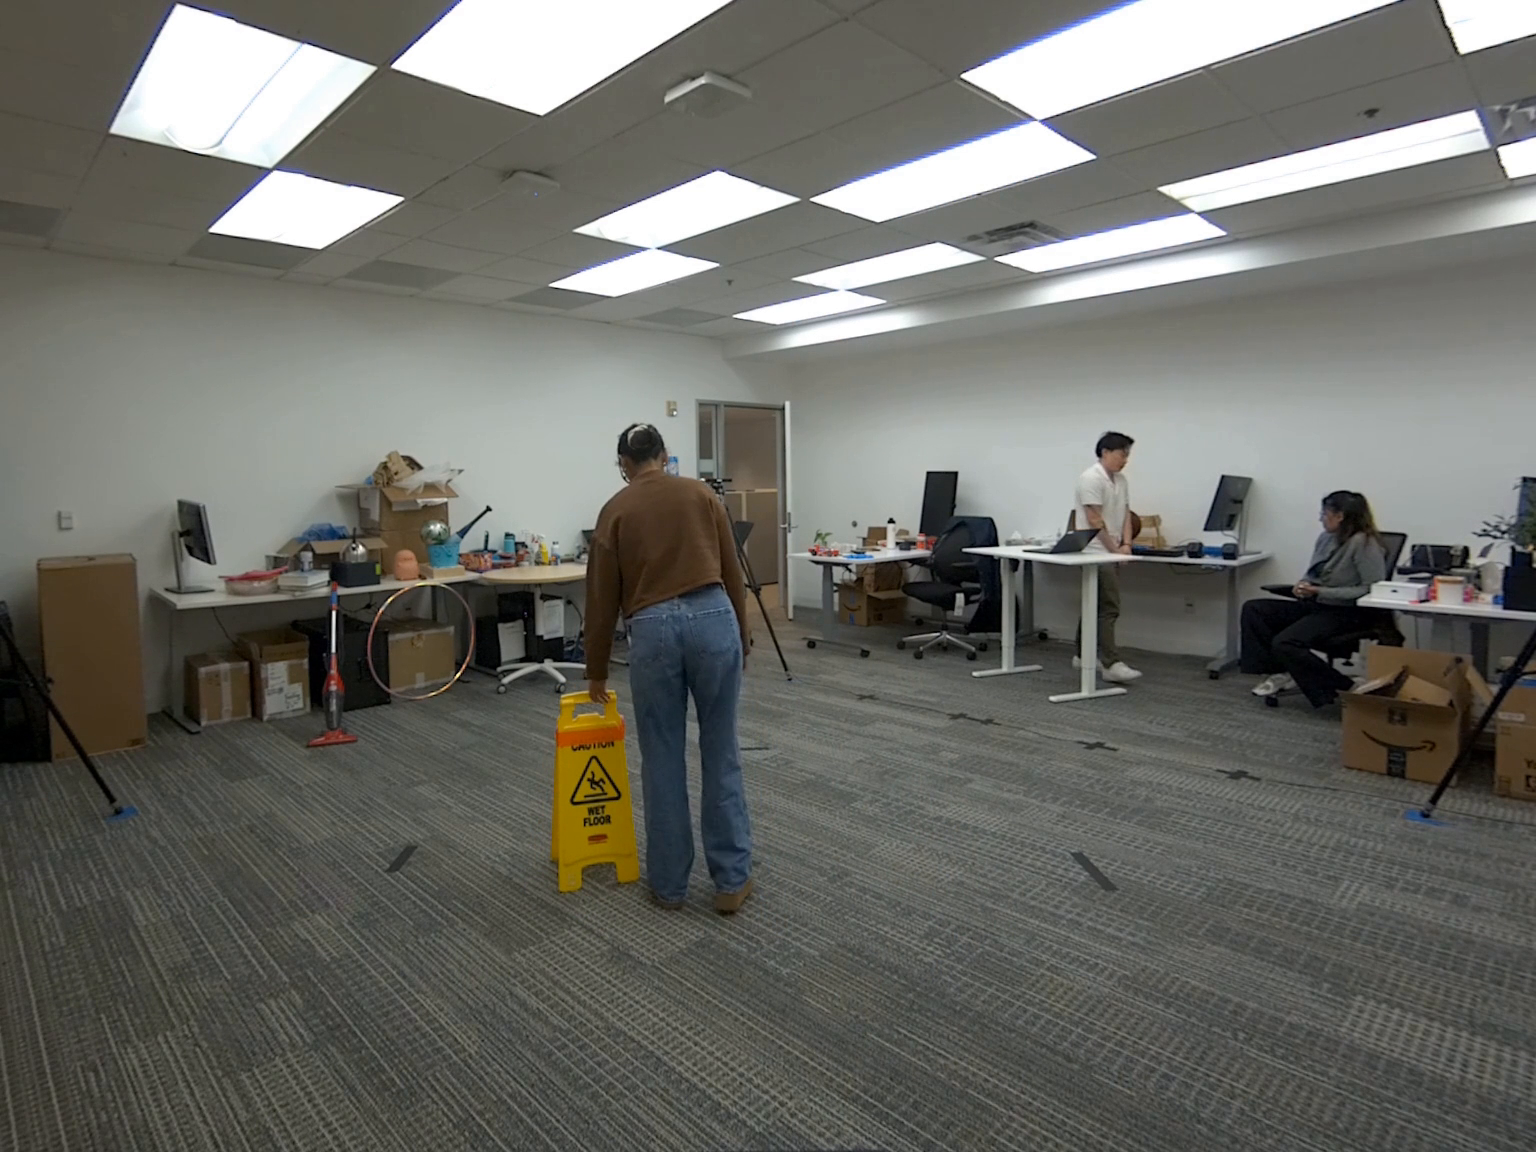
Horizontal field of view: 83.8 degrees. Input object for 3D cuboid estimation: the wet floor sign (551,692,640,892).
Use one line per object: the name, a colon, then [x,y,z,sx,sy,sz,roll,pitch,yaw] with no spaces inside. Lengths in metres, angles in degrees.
wet floor sign: [-0.627,0.734,3.051,0.277,0.643,0.296,-3,4,-20]
